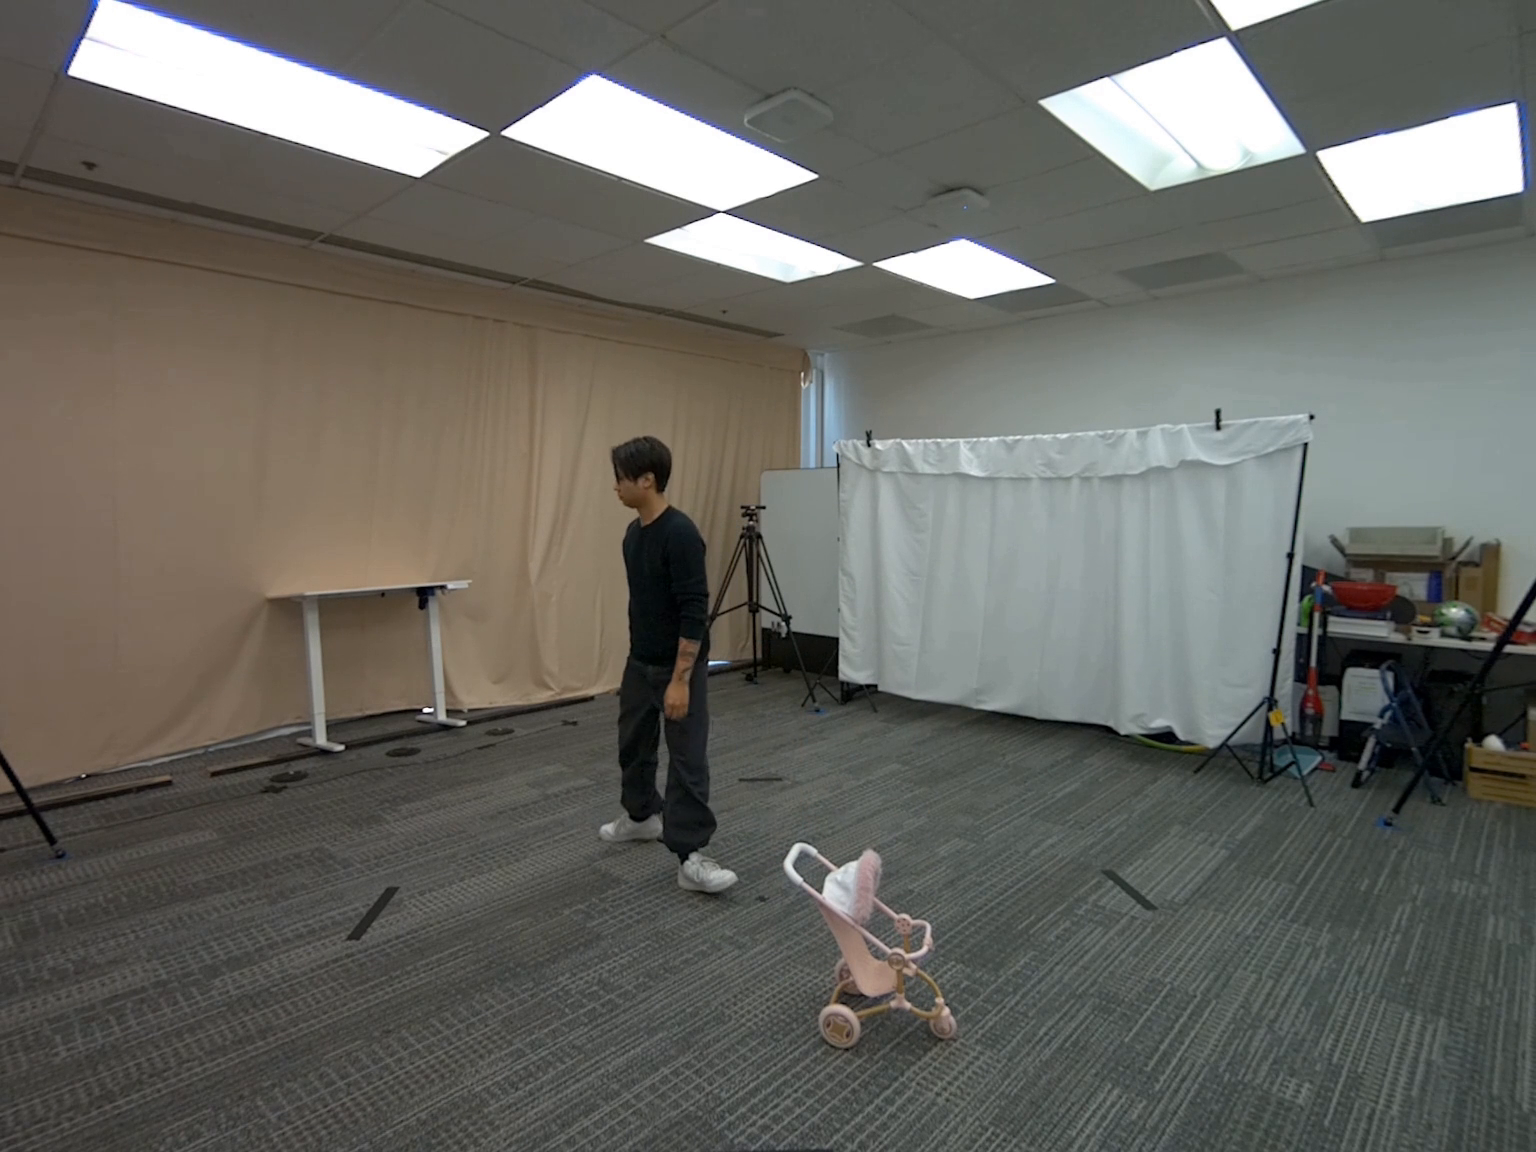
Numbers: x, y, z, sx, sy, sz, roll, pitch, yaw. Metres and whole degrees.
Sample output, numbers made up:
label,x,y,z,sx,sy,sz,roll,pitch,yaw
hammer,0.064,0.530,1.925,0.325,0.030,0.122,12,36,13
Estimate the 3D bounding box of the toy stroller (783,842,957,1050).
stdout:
label,x,y,z,sx,sy,sz,roll,pitch,yaw
toy stroller,0.285,0.980,2.248,0.348,0.536,0.276,-15,-2,22
